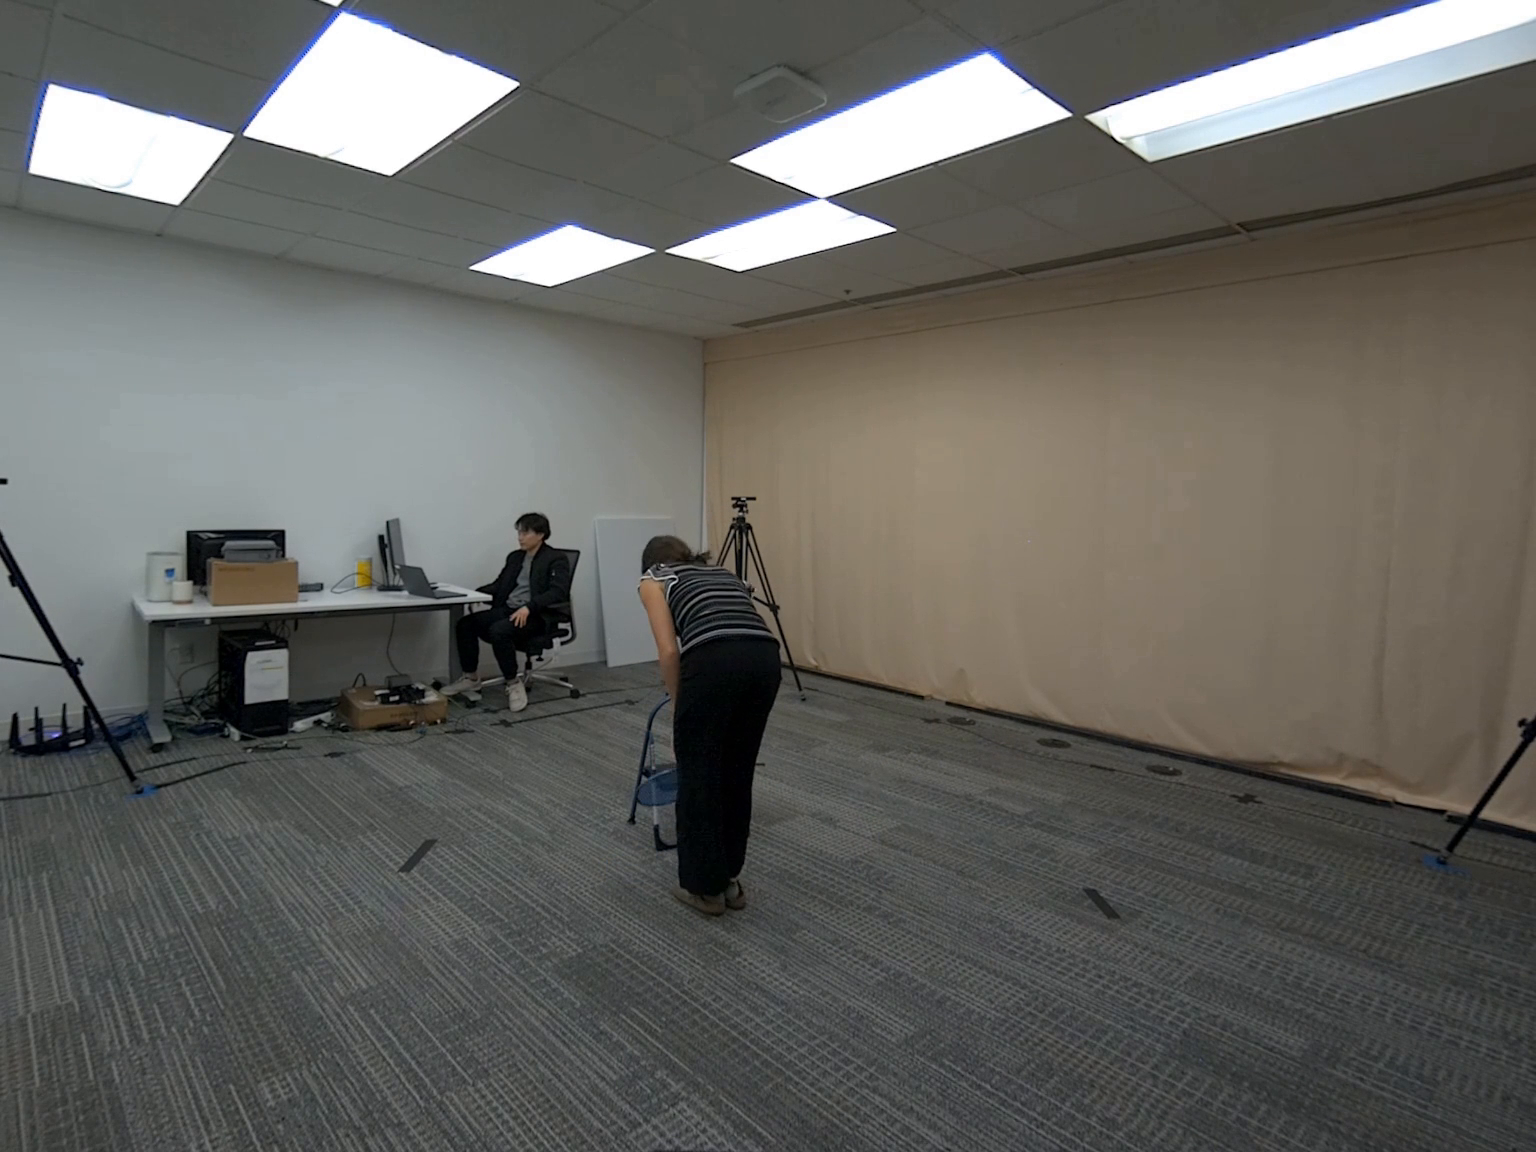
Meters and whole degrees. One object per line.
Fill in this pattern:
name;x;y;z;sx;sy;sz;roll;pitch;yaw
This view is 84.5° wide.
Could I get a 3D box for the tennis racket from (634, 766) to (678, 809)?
tennis racket;-0.277;0.759;3.071;0.432;0.033;0.207;-23;-40;-2
